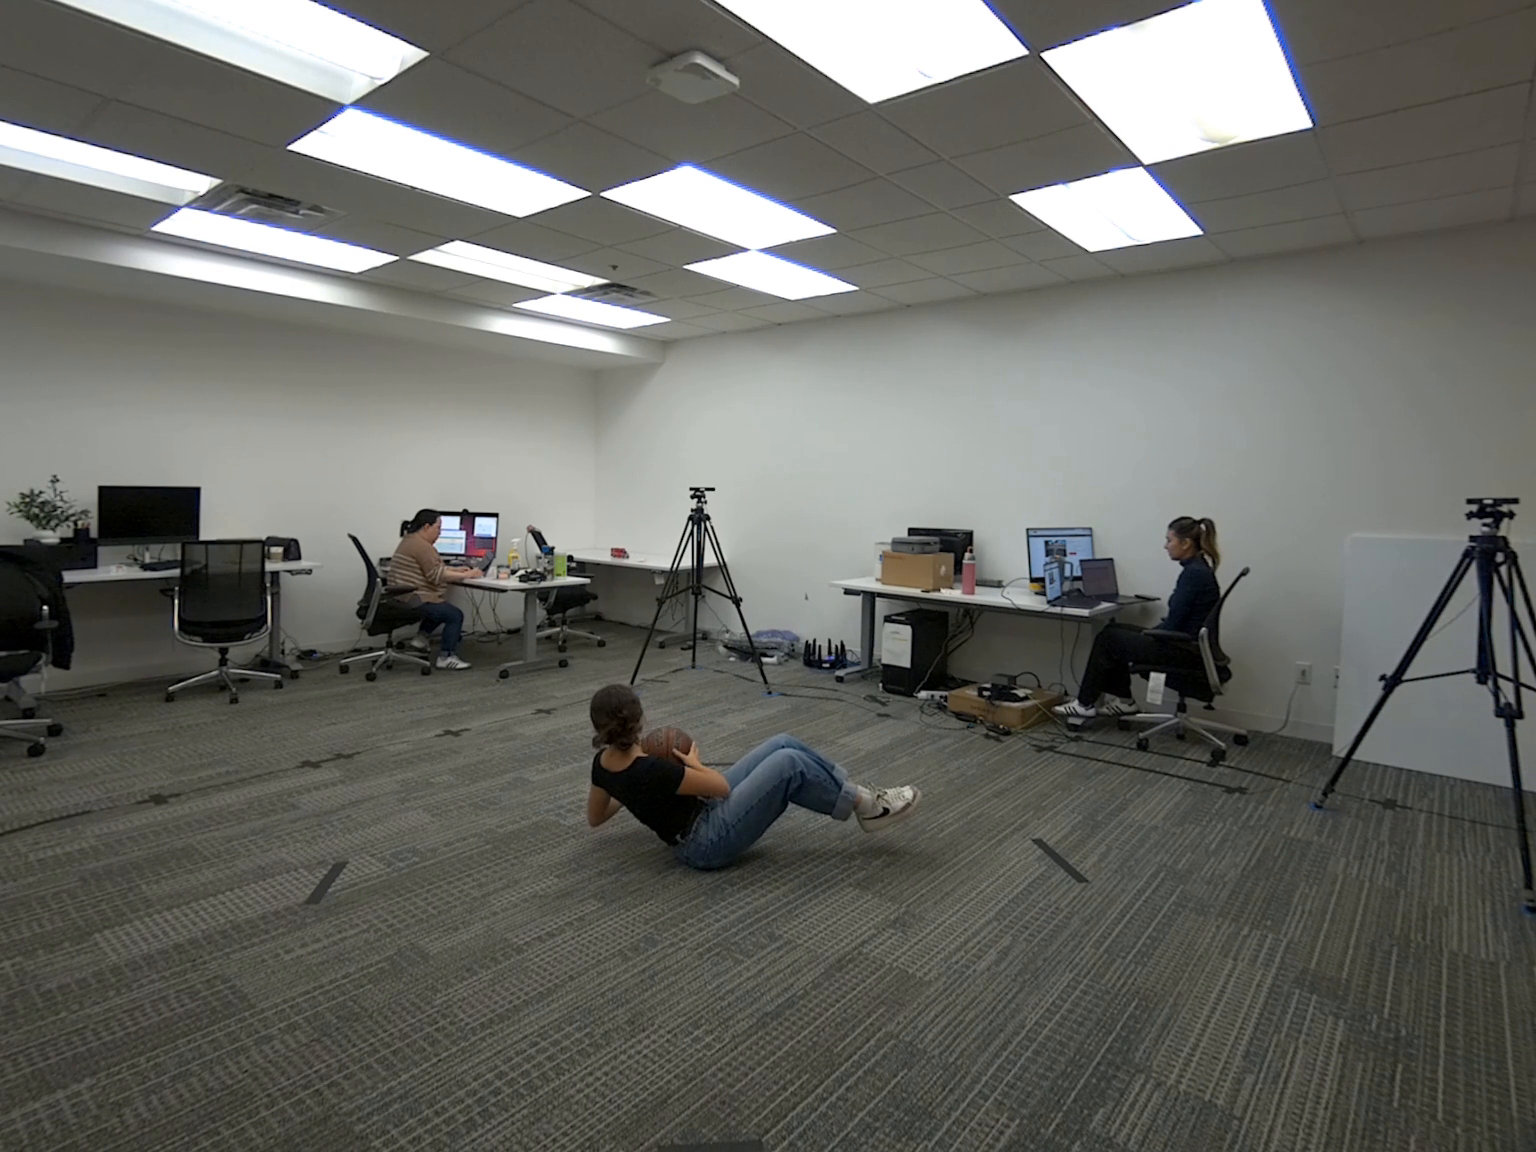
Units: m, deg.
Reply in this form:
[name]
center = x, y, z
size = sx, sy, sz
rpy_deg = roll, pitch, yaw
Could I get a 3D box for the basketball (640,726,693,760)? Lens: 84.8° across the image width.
[basketball]
center = -0.418, 0.736, 3.488
size = 0.235, 0.235, 0.237
rpy_deg = 1, 4, -2
